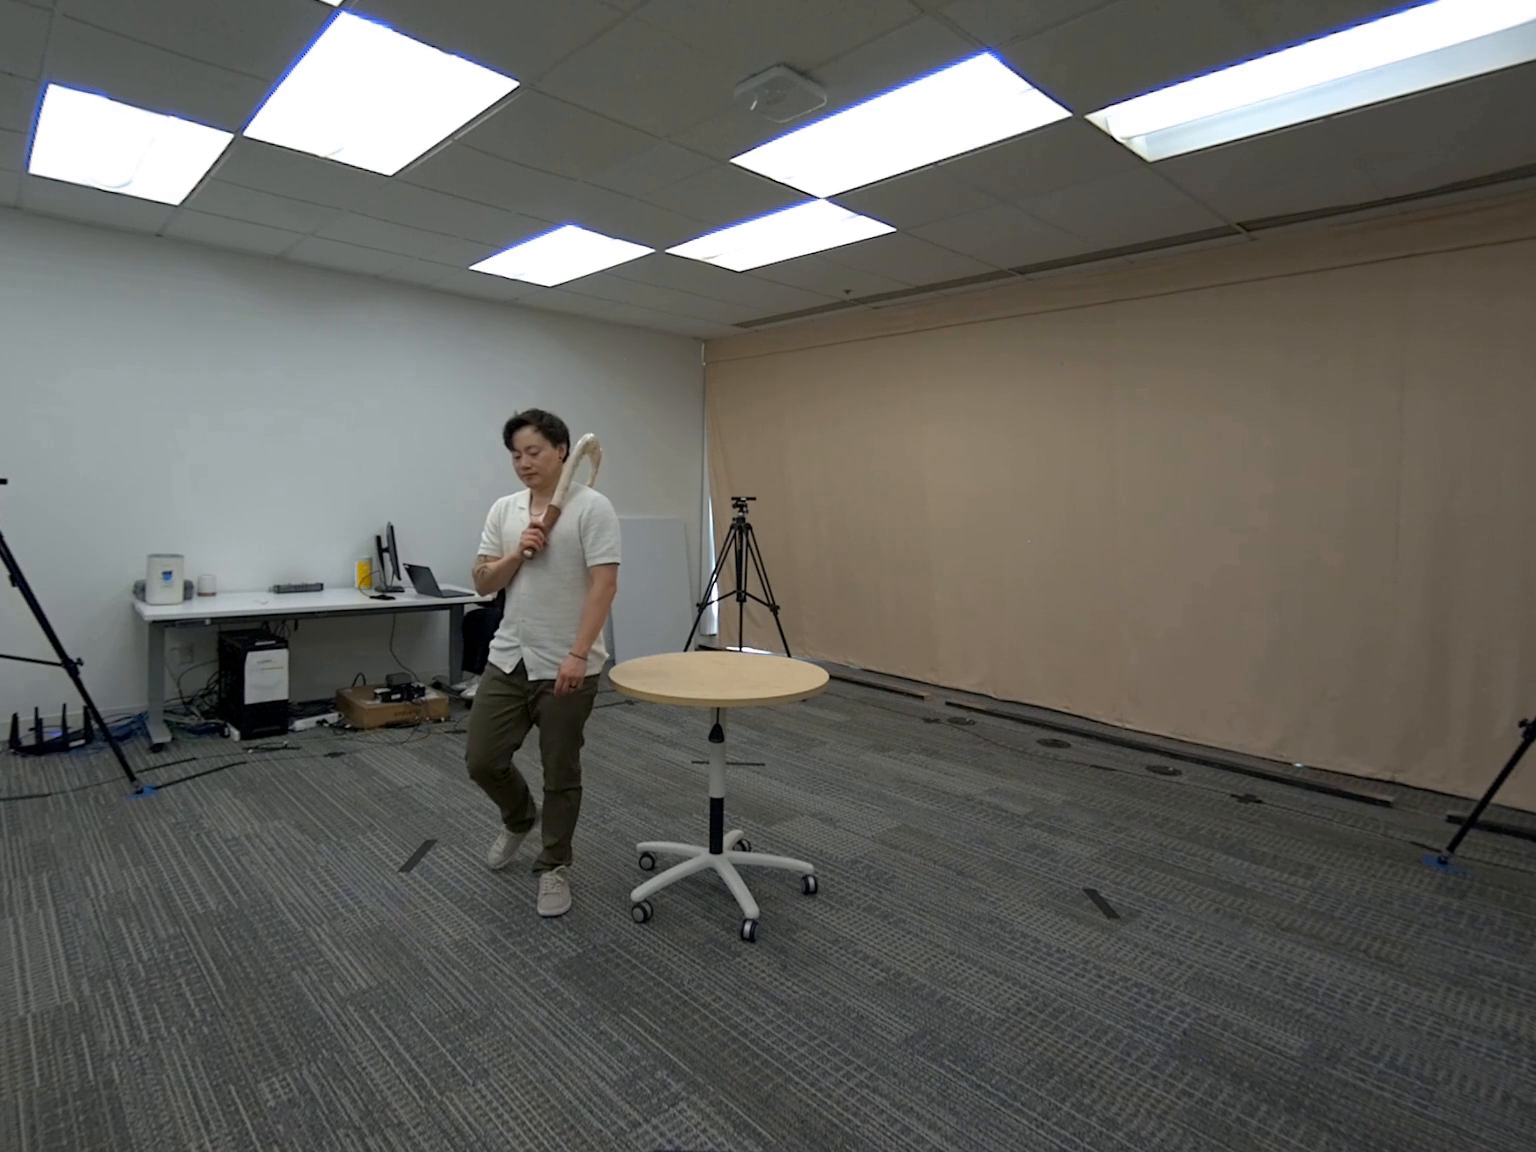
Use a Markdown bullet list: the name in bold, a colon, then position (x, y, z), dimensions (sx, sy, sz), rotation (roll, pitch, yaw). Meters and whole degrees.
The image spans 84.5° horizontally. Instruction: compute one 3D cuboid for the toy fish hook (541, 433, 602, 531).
- **toy fish hook**: position (-0.693, -0.254, 2.832), dimensions (0.049, 0.511, 0.219), rotation (12, -27, 15)
